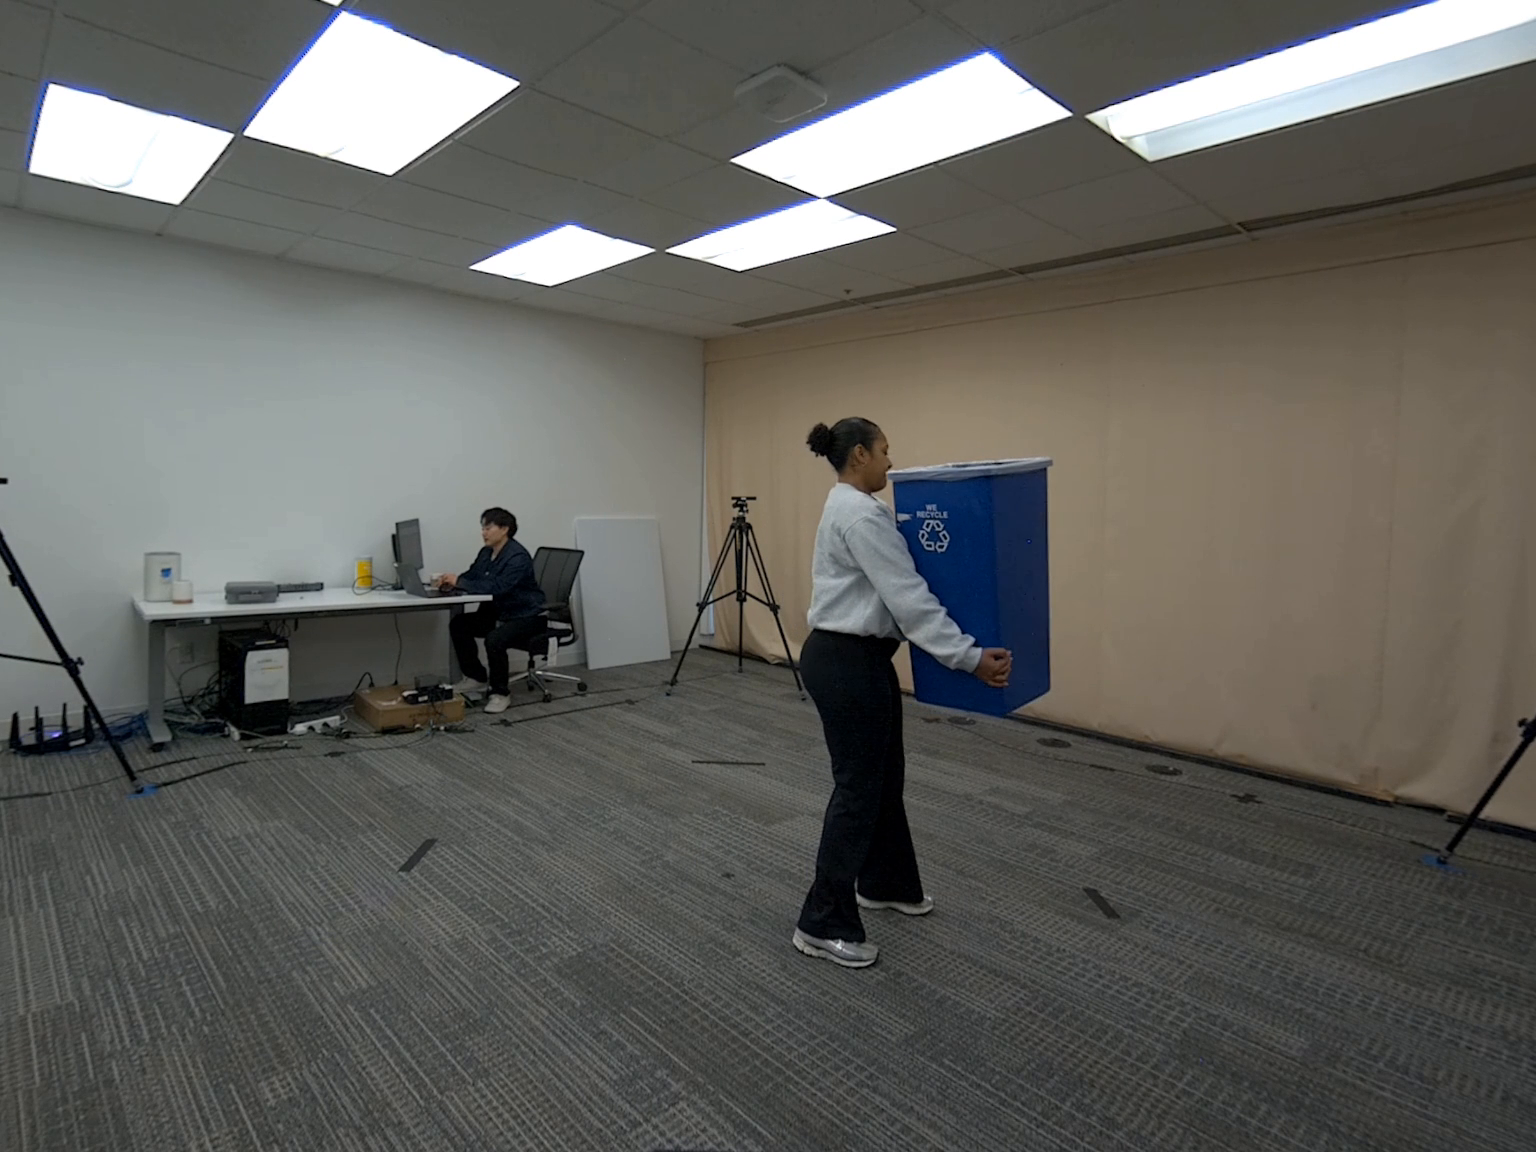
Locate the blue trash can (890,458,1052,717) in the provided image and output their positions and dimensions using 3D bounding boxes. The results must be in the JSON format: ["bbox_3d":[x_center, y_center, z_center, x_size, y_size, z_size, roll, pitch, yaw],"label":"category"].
[{"bbox_3d":[0.620,0.015,2.542,0.367,0.710,0.387,-10,8,-43],"label":"blue trash can"}]
